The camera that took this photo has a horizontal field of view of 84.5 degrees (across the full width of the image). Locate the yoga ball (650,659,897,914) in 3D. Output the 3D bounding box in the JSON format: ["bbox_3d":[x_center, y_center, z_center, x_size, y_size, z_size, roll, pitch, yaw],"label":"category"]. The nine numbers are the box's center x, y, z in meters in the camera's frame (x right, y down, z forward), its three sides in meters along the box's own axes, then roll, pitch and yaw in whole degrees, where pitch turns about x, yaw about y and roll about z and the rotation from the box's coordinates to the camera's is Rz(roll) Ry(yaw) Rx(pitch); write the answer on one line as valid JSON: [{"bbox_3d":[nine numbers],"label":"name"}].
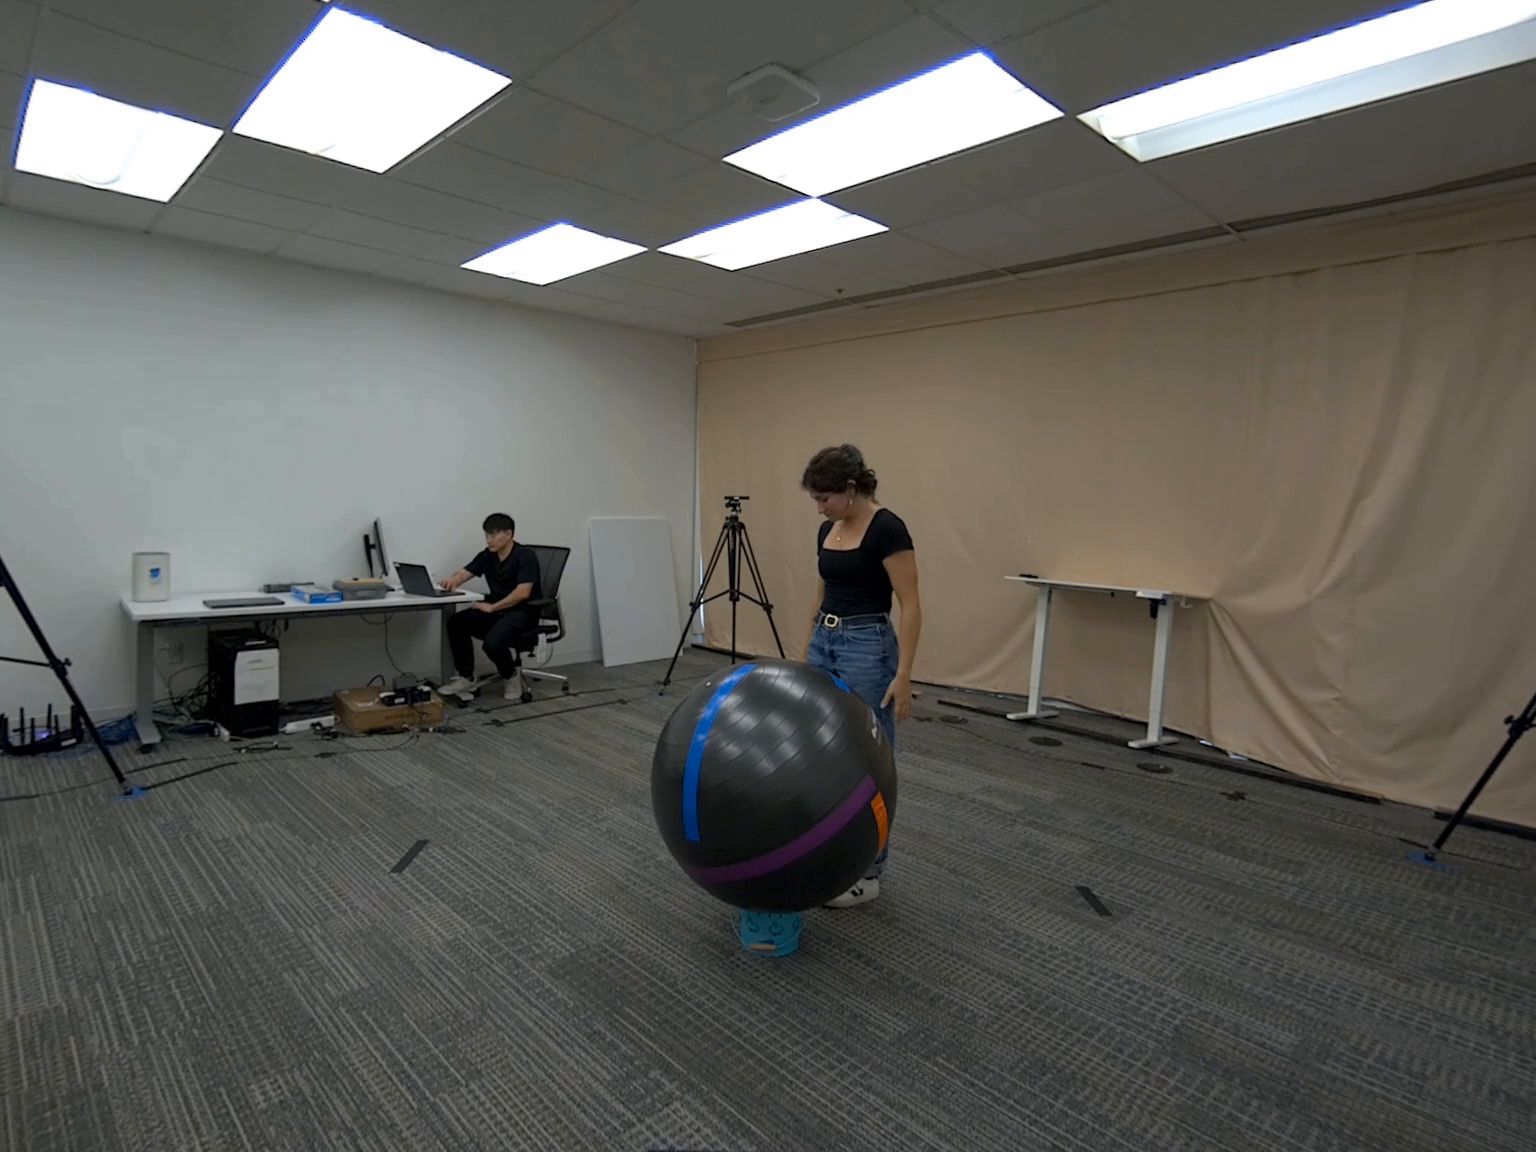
[{"bbox_3d":[0.013,0.644,2.594,0.757,0.756,0.761,1,4,-1],"label":"yoga ball"}]
